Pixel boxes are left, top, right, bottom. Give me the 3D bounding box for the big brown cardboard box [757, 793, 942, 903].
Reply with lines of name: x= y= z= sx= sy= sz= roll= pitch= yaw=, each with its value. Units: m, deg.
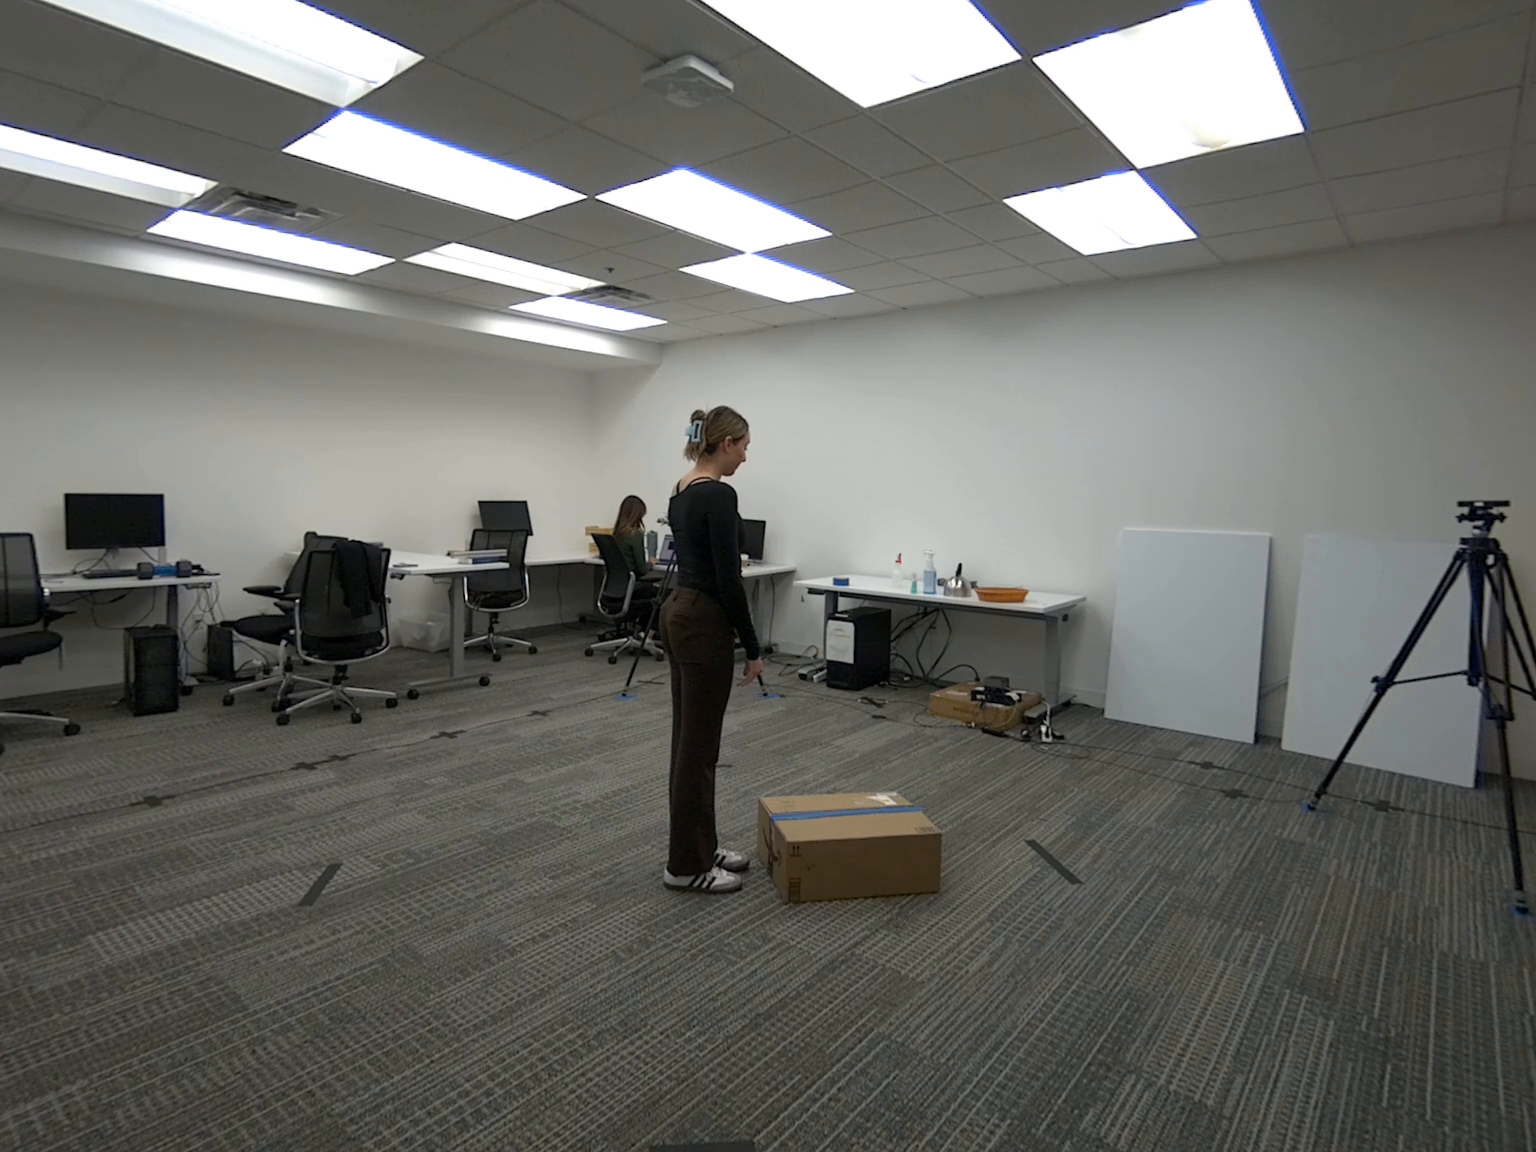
big brown cardboard box: x=0.282 y=0.973 z=3.113 sx=0.581 sy=0.232 sz=0.425 roll=-1 pitch=5 yaw=-13
